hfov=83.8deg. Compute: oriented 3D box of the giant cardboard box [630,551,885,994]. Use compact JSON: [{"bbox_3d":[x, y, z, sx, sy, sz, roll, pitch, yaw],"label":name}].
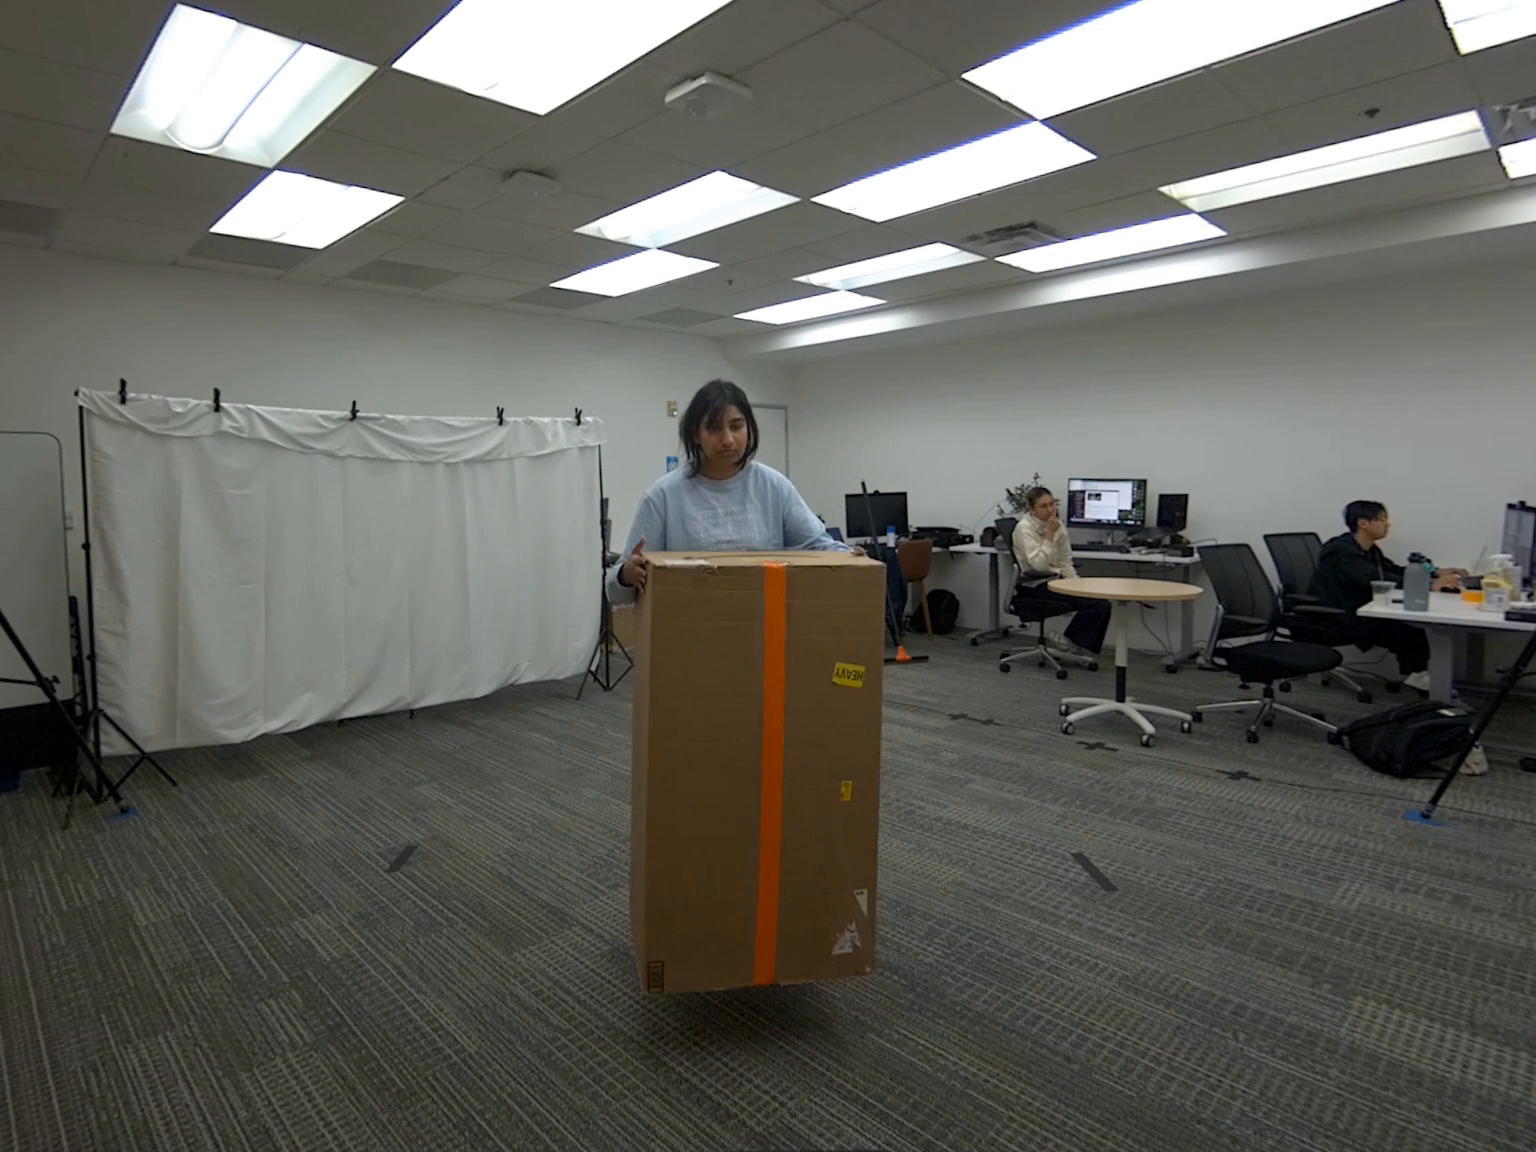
[{"bbox_3d":[-0.052,0.466,2.231,0.571,1.023,0.432,1,3,-12],"label":"giant cardboard box"}]
